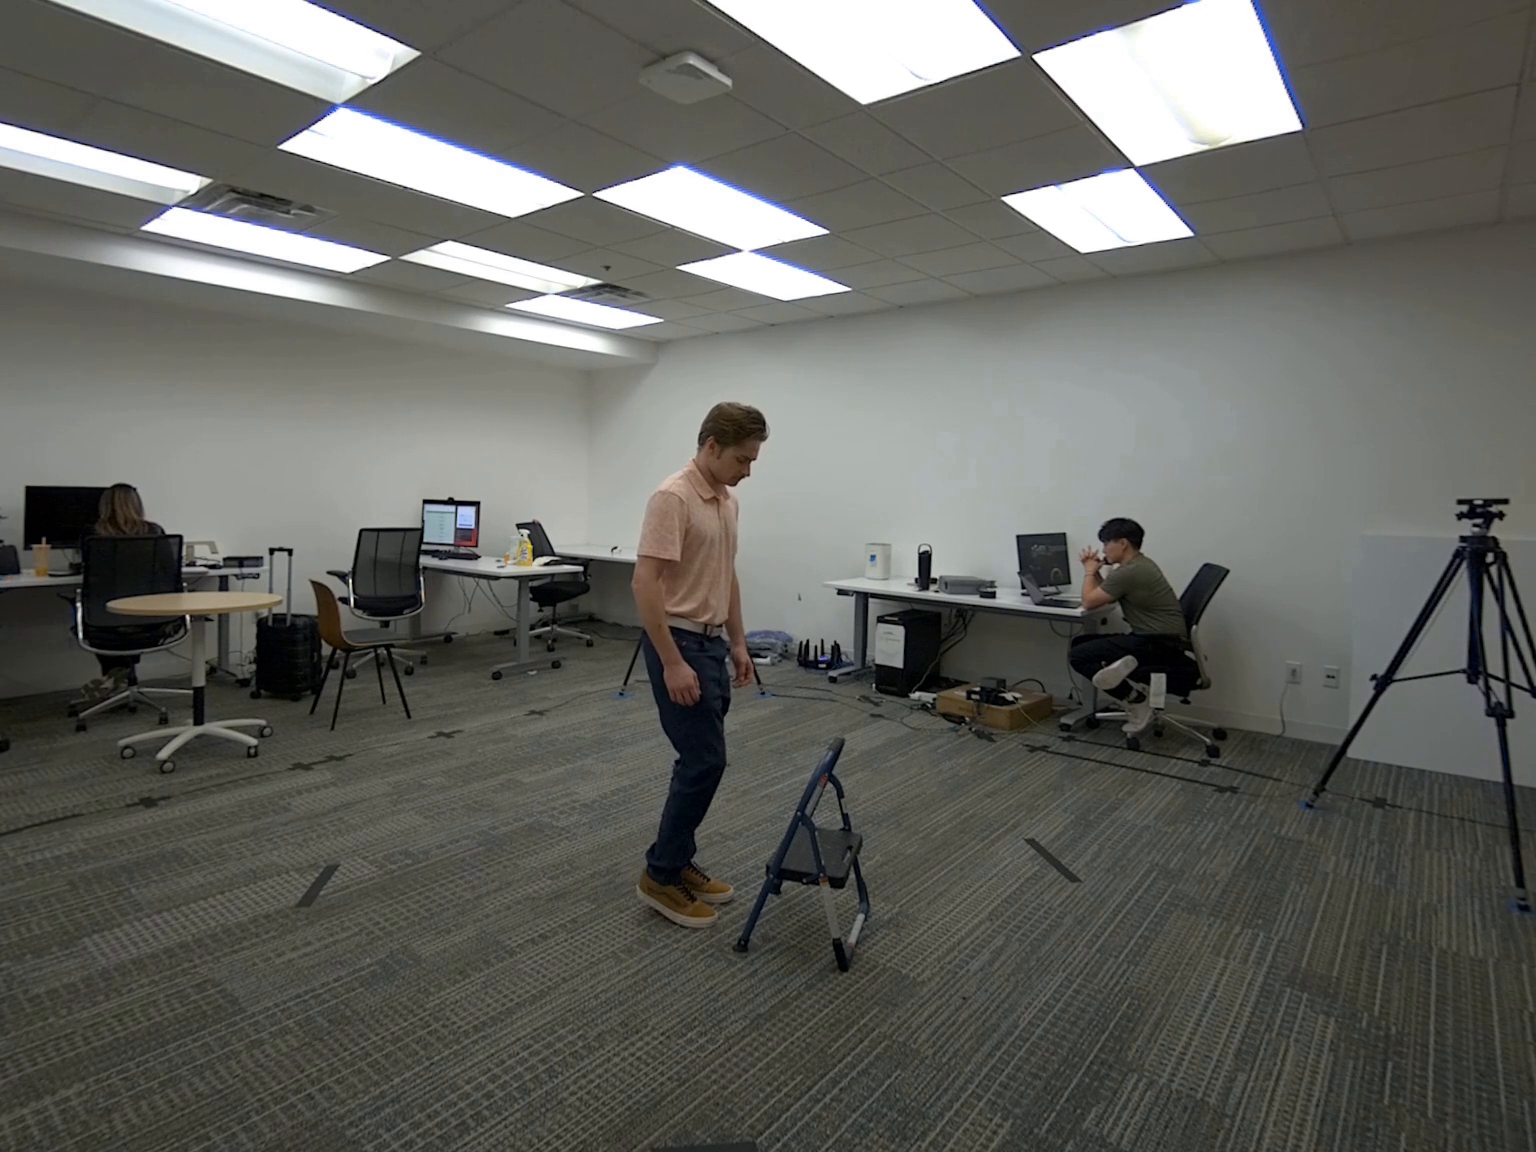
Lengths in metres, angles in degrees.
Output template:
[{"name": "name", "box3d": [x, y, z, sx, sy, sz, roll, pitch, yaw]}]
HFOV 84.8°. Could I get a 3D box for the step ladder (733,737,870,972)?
[{"name": "step ladder", "box3d": [0.125, 0.814, 2.686, 0.356, 0.604, 0.424, 3, 4, 17]}]
